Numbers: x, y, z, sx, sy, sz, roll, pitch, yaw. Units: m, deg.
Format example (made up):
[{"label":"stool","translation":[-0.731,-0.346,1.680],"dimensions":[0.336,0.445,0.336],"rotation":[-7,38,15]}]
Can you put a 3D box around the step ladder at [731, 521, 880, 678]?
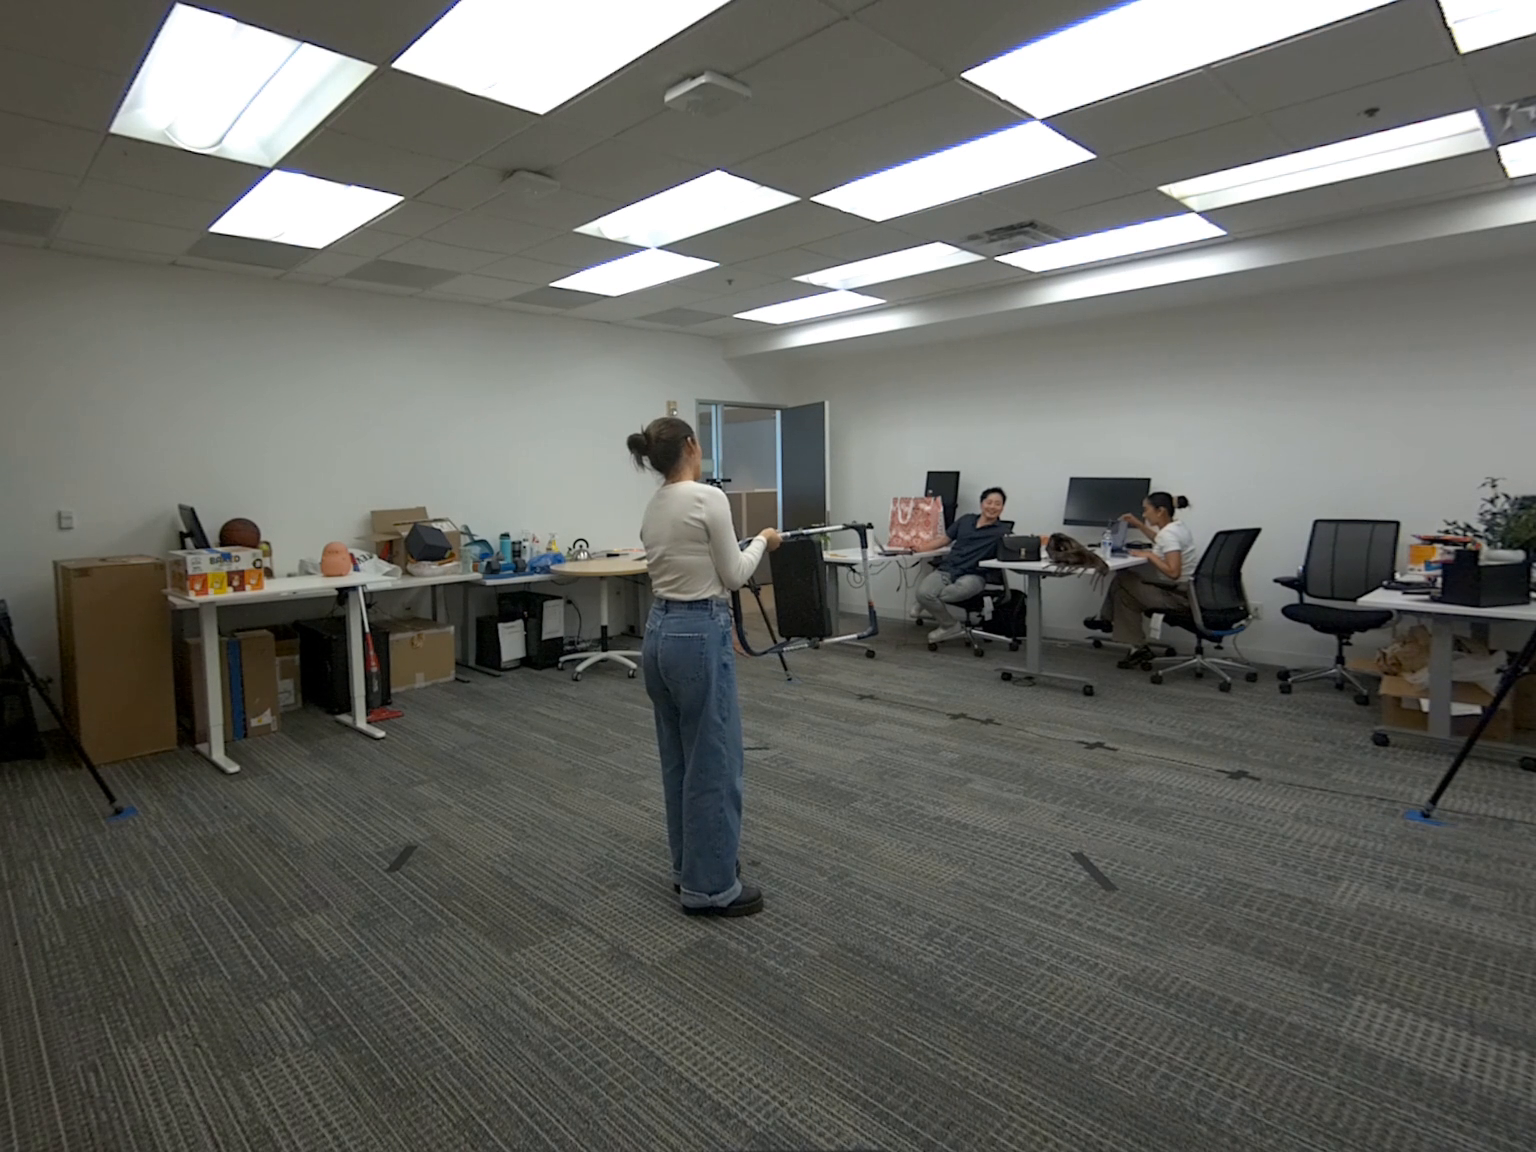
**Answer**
[{"label":"step ladder","translation":[0.057,0.049,3.064],"dimensions":[0.591,0.430,0.358],"rotation":[-10,3,-41]}]
